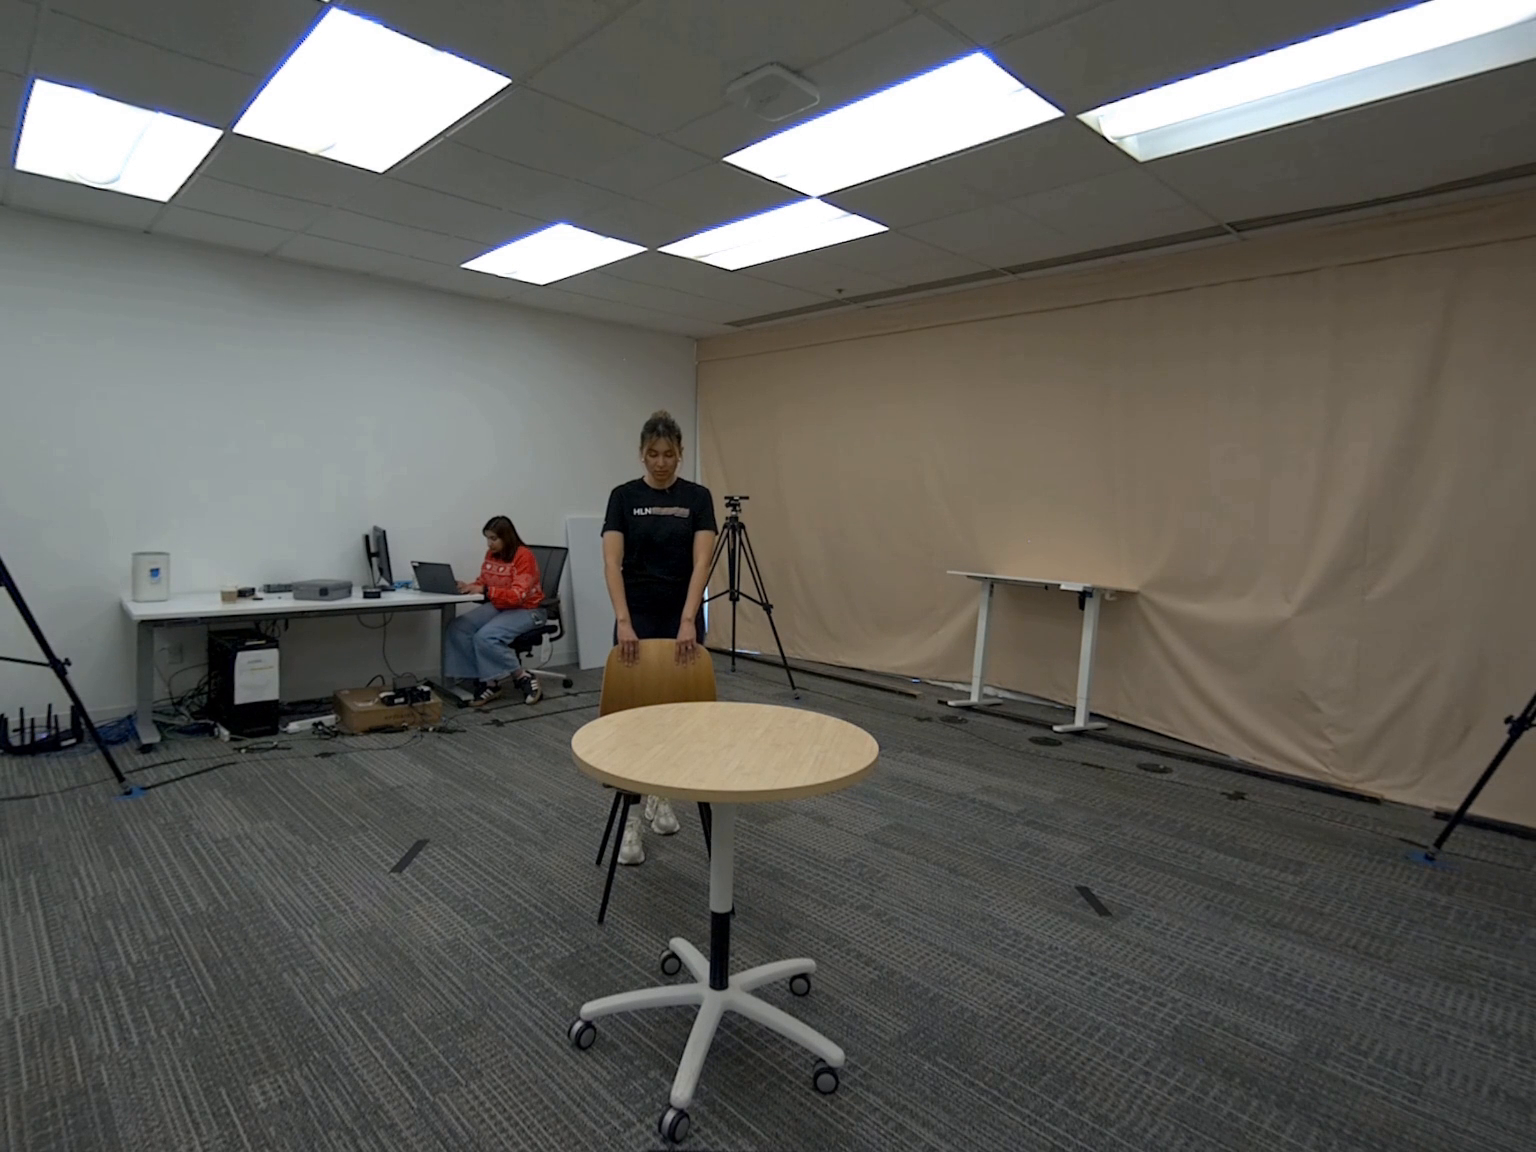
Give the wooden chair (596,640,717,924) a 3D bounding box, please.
[{"bbox_3d":[-0.366,0.690,2.944,0.474,0.878,0.527,1,-1,-12],"label":"wooden chair"}]
